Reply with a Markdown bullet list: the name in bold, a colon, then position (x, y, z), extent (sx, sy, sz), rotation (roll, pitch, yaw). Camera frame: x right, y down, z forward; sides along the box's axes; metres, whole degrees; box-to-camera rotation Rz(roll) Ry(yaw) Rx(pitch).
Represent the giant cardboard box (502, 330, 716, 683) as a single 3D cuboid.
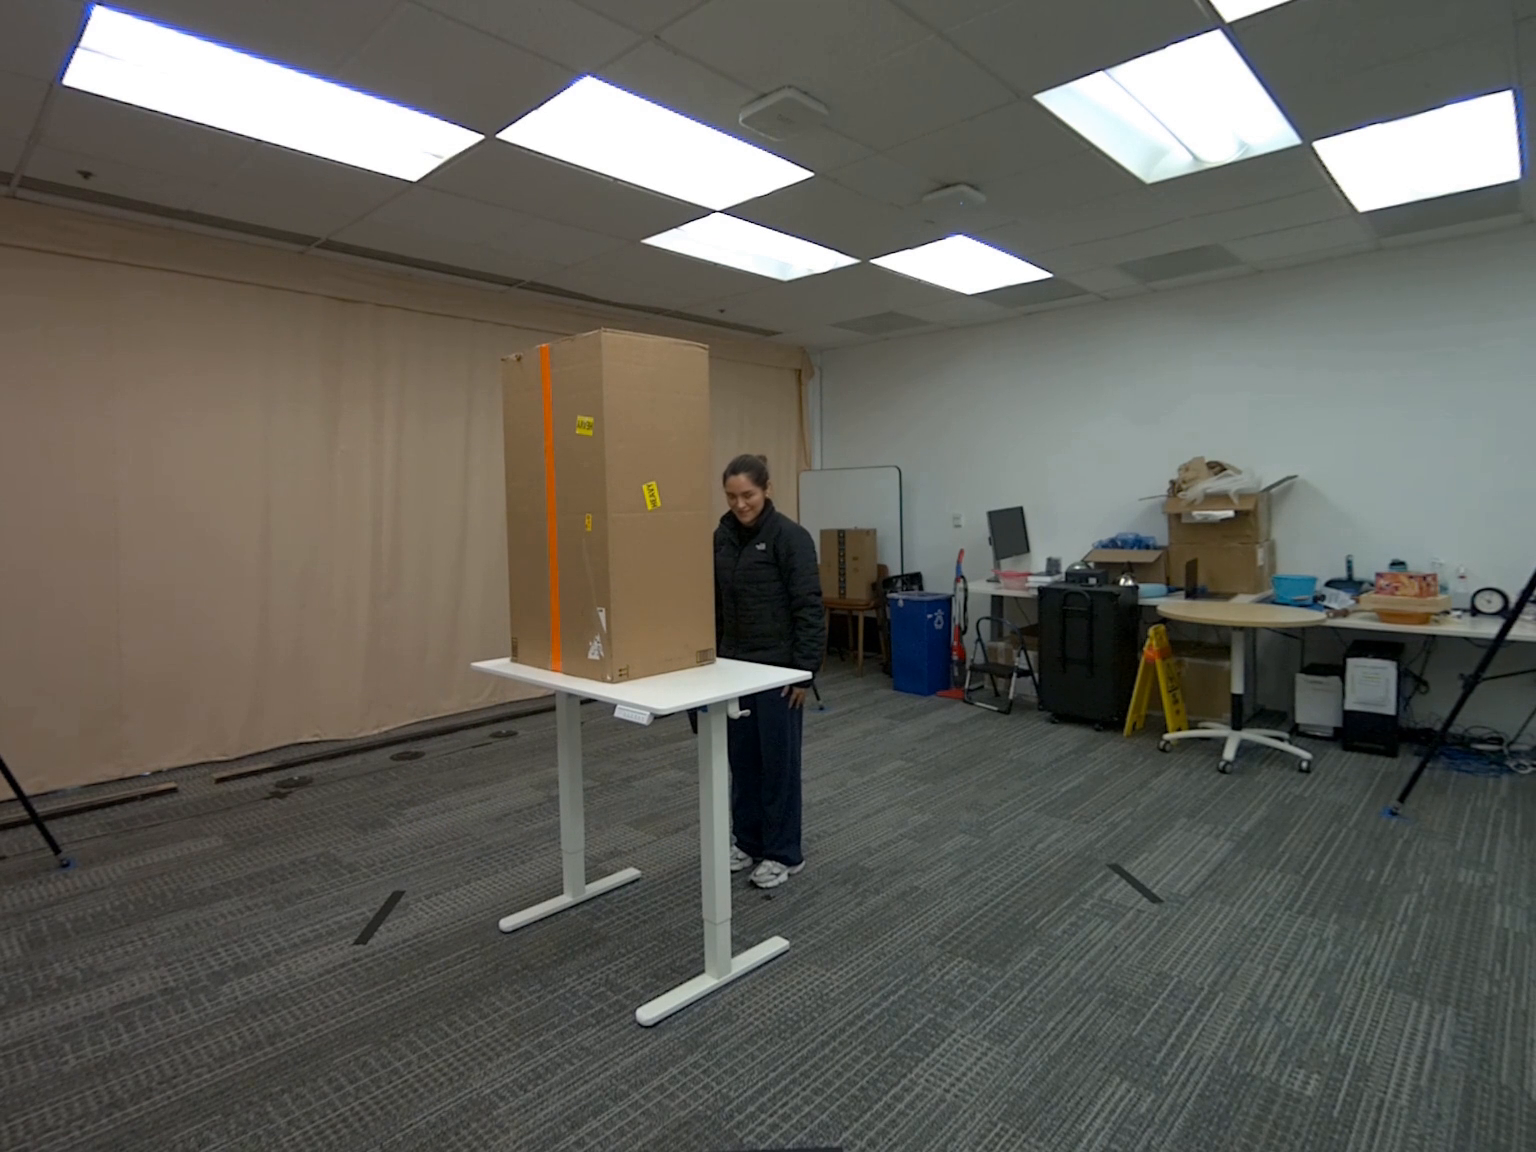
- **giant cardboard box**: position (-0.517, -0.221, 2.763), extent (0.433, 1.025, 0.603), rotation (-5, 5, -44)
